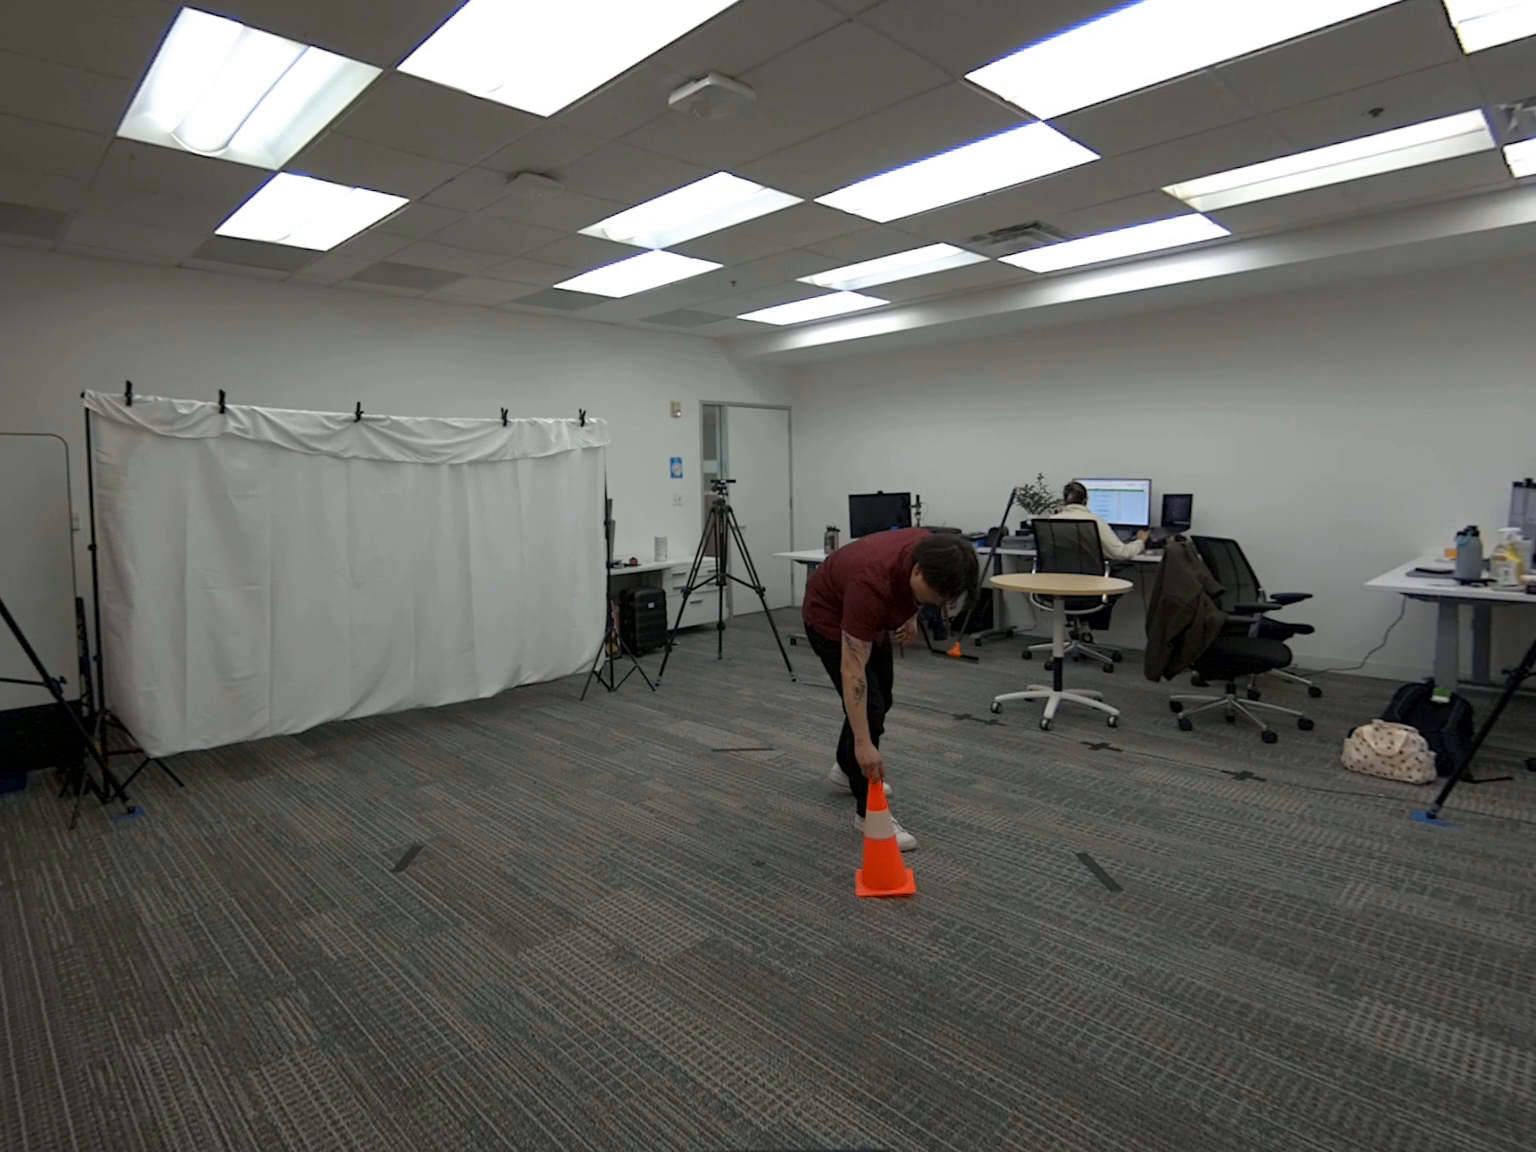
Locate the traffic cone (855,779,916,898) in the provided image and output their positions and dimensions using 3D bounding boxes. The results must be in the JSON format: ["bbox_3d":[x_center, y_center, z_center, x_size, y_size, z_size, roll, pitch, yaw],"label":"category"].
[{"bbox_3d":[0.392,0.870,2.929,0.207,0.383,0.202,-4,3,8],"label":"traffic cone"}]
